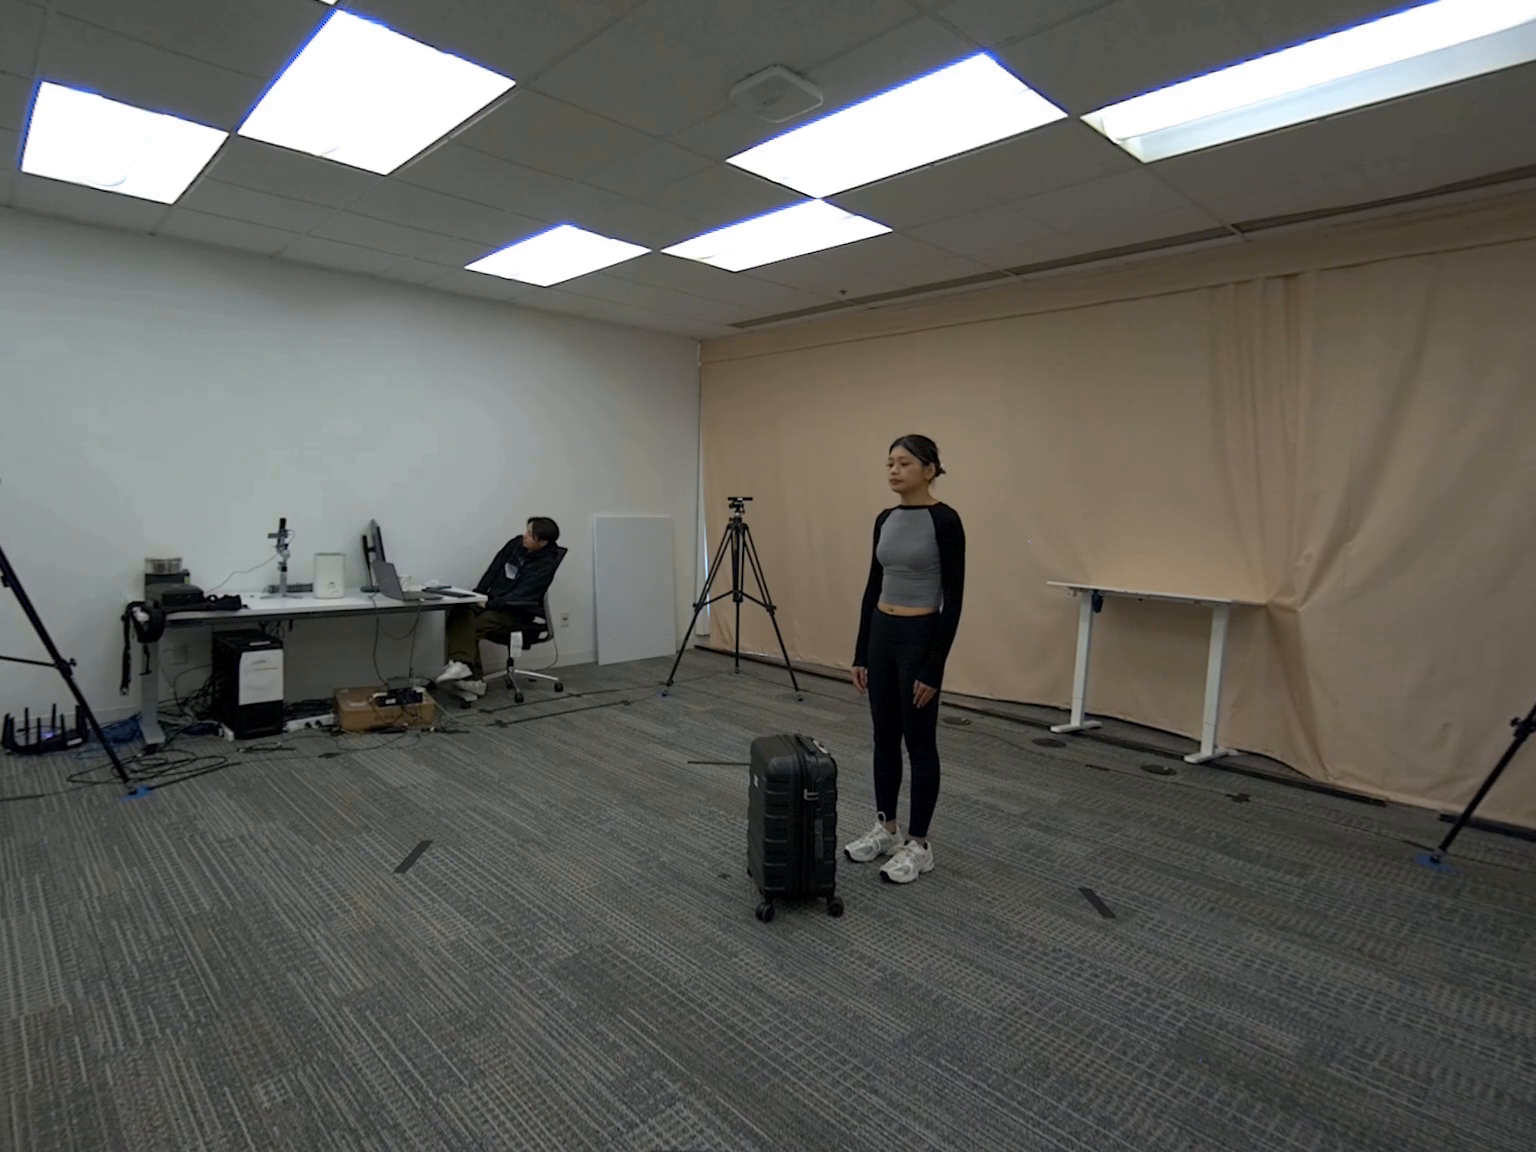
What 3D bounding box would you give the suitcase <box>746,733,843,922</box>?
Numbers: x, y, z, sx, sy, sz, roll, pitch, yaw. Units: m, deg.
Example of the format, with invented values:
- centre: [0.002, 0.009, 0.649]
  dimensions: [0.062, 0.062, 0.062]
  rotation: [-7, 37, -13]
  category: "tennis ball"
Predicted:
- centre: [0.072, 0.850, 2.942]
  dimensions: [0.246, 0.548, 0.379]
  rotation: [1, 4, -11]
  category: "suitcase"
